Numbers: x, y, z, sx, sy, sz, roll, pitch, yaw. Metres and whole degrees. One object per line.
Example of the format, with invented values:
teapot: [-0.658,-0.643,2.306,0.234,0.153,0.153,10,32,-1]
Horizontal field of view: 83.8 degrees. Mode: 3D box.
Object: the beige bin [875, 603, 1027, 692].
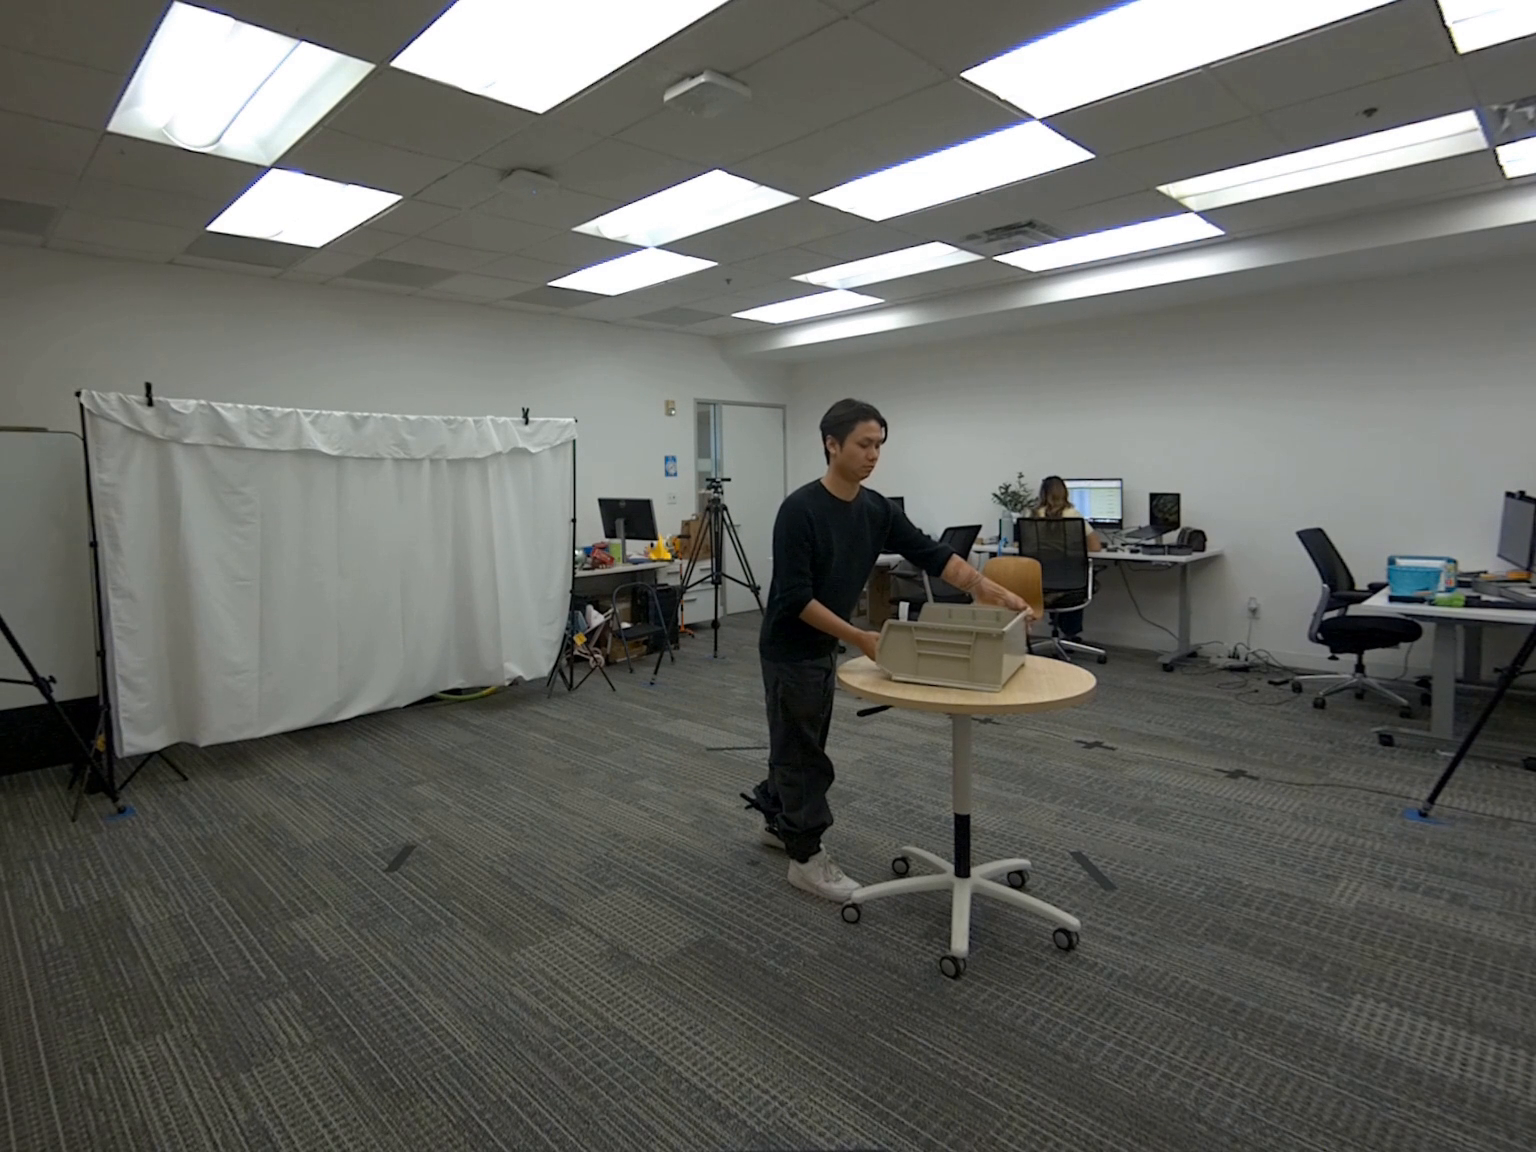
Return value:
beige bin: [0.587,0.209,2.639,0.387,0.188,0.413,4,7,28]
